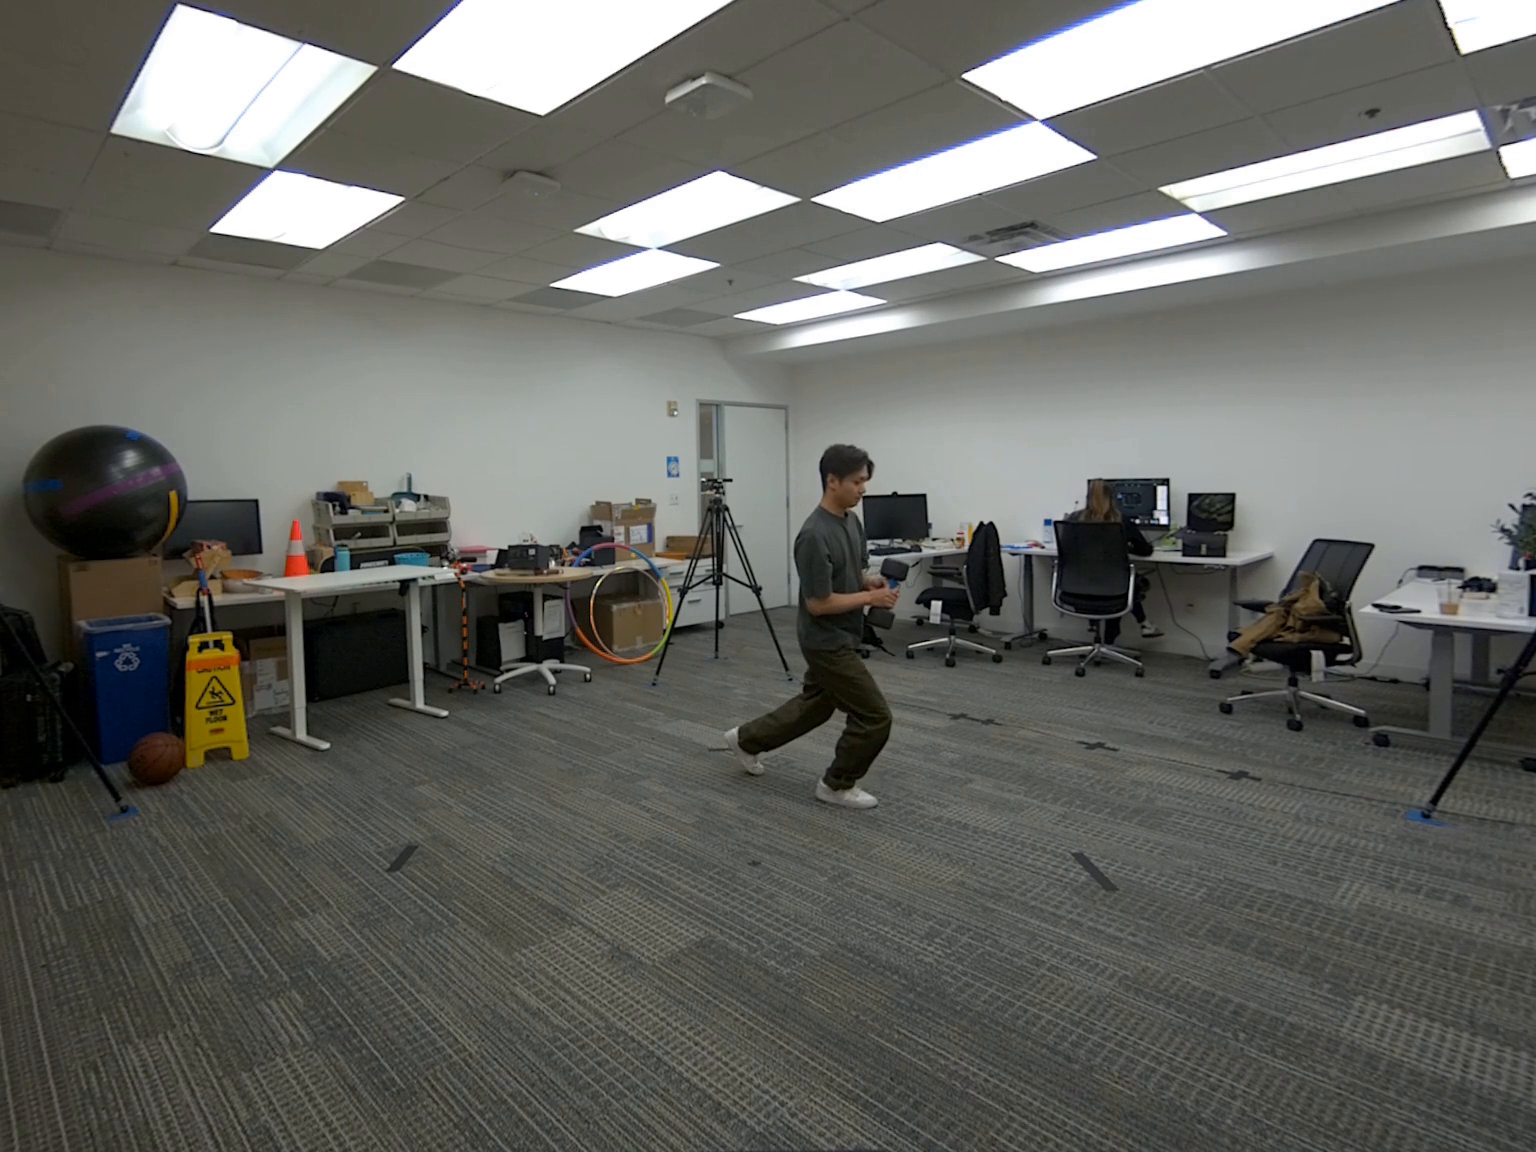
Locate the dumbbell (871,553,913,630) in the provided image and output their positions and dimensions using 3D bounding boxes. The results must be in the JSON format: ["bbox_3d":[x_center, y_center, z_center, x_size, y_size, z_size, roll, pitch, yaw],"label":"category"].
[{"bbox_3d":[0.499,0.063,3.599,0.111,0.297,0.118,-5,-27,46],"label":"dumbbell"}]
